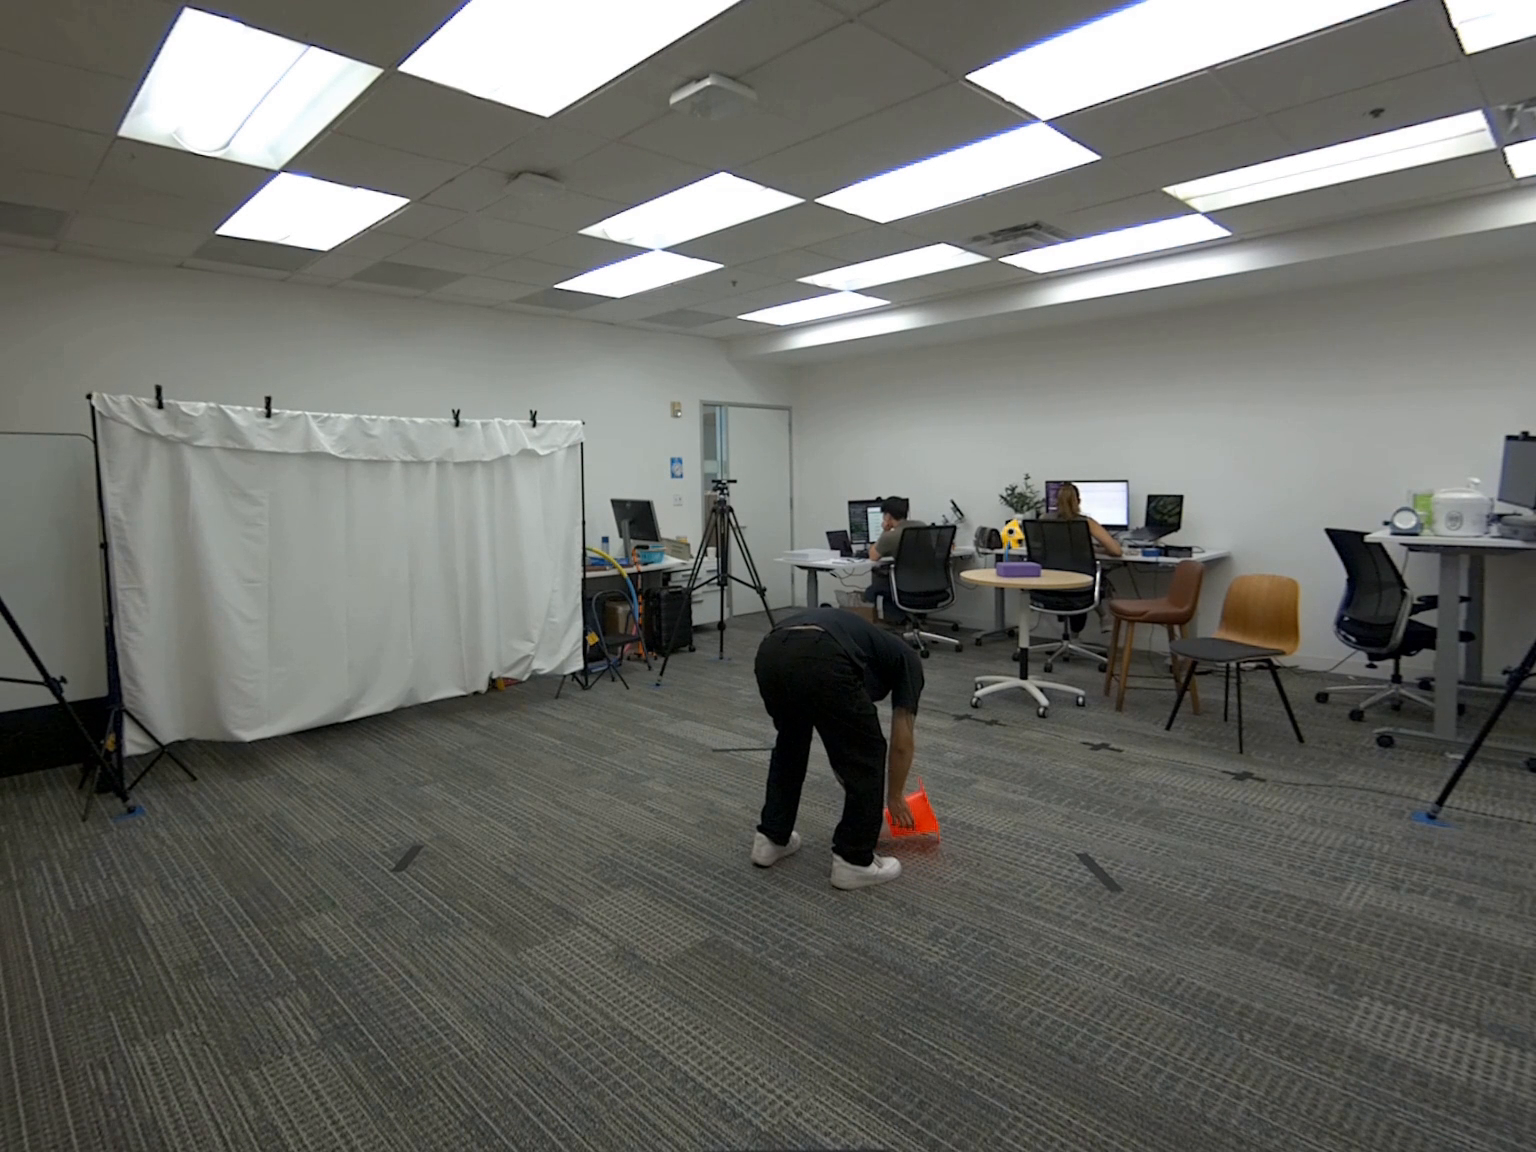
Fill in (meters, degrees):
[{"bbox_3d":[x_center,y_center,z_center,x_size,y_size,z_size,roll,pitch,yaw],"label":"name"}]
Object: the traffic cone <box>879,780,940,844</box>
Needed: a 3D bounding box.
[{"bbox_3d":[0.438,0.953,3.269,0.384,0.198,0.210,-19,47,0],"label":"traffic cone"}]
